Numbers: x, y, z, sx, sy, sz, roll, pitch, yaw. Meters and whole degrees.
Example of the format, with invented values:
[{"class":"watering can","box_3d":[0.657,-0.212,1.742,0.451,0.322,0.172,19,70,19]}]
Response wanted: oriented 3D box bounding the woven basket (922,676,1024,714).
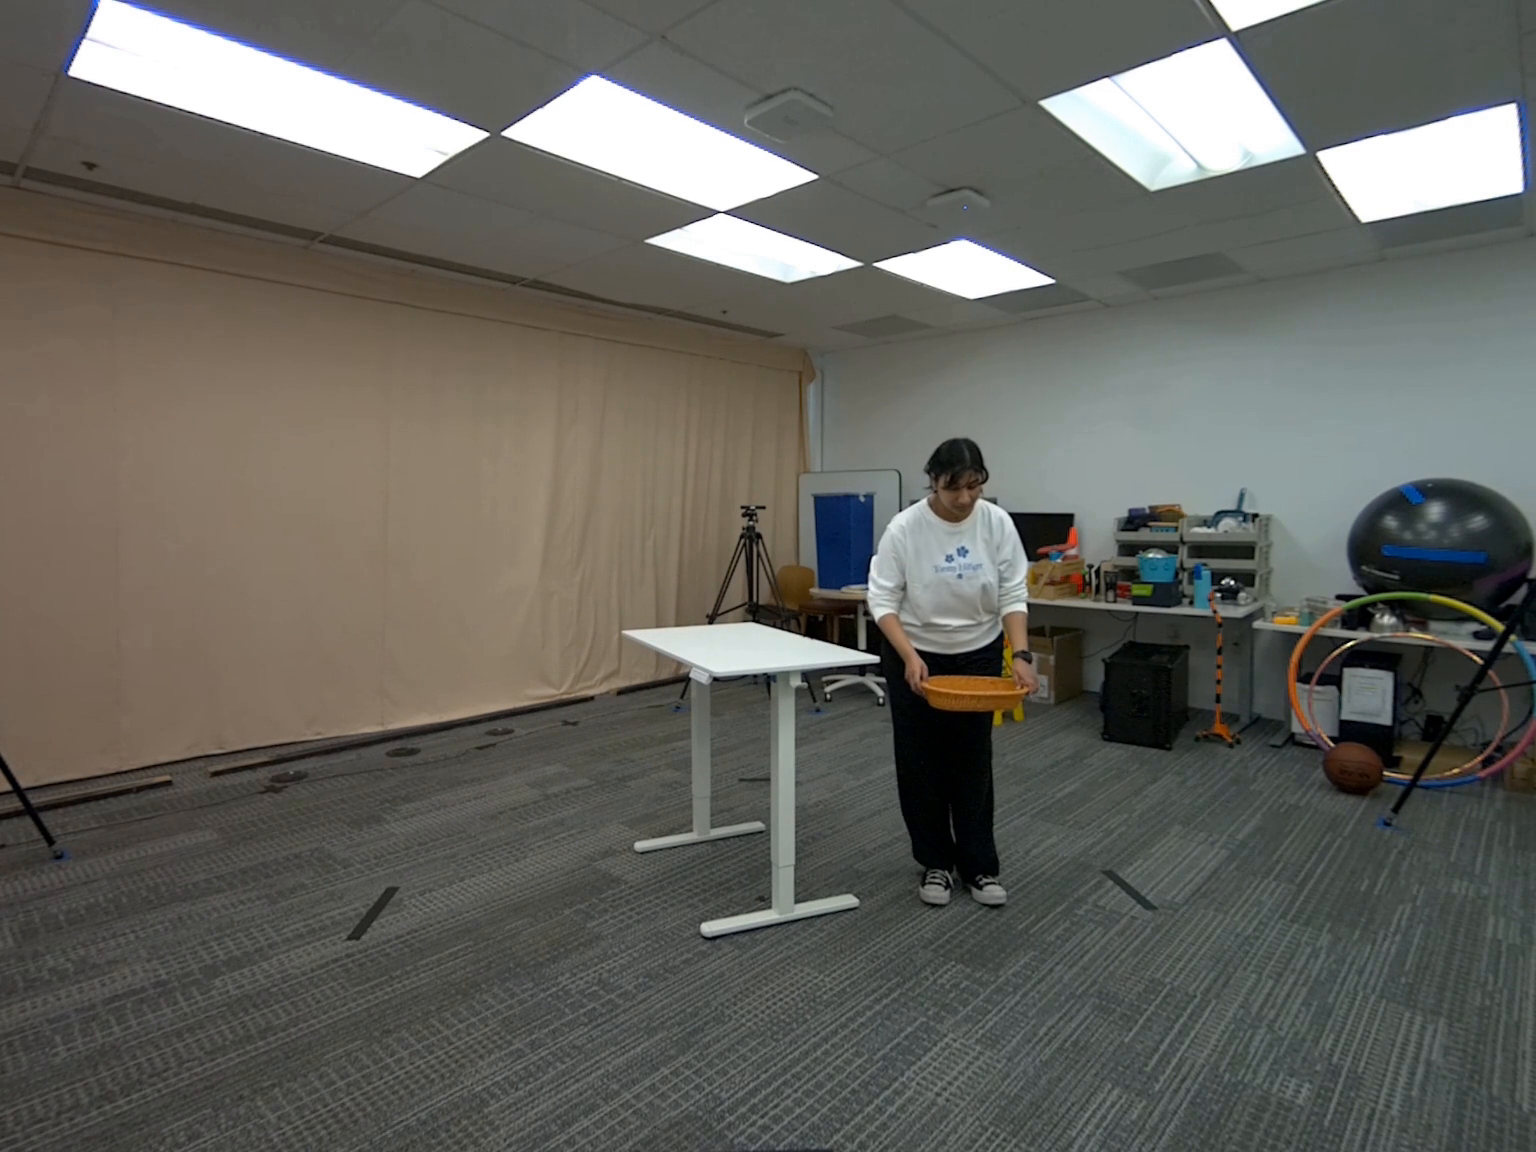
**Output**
[{"class":"woven basket","box_3d":[0.684,0.382,2.749,0.350,0.073,0.254,0,6,-2]}]
